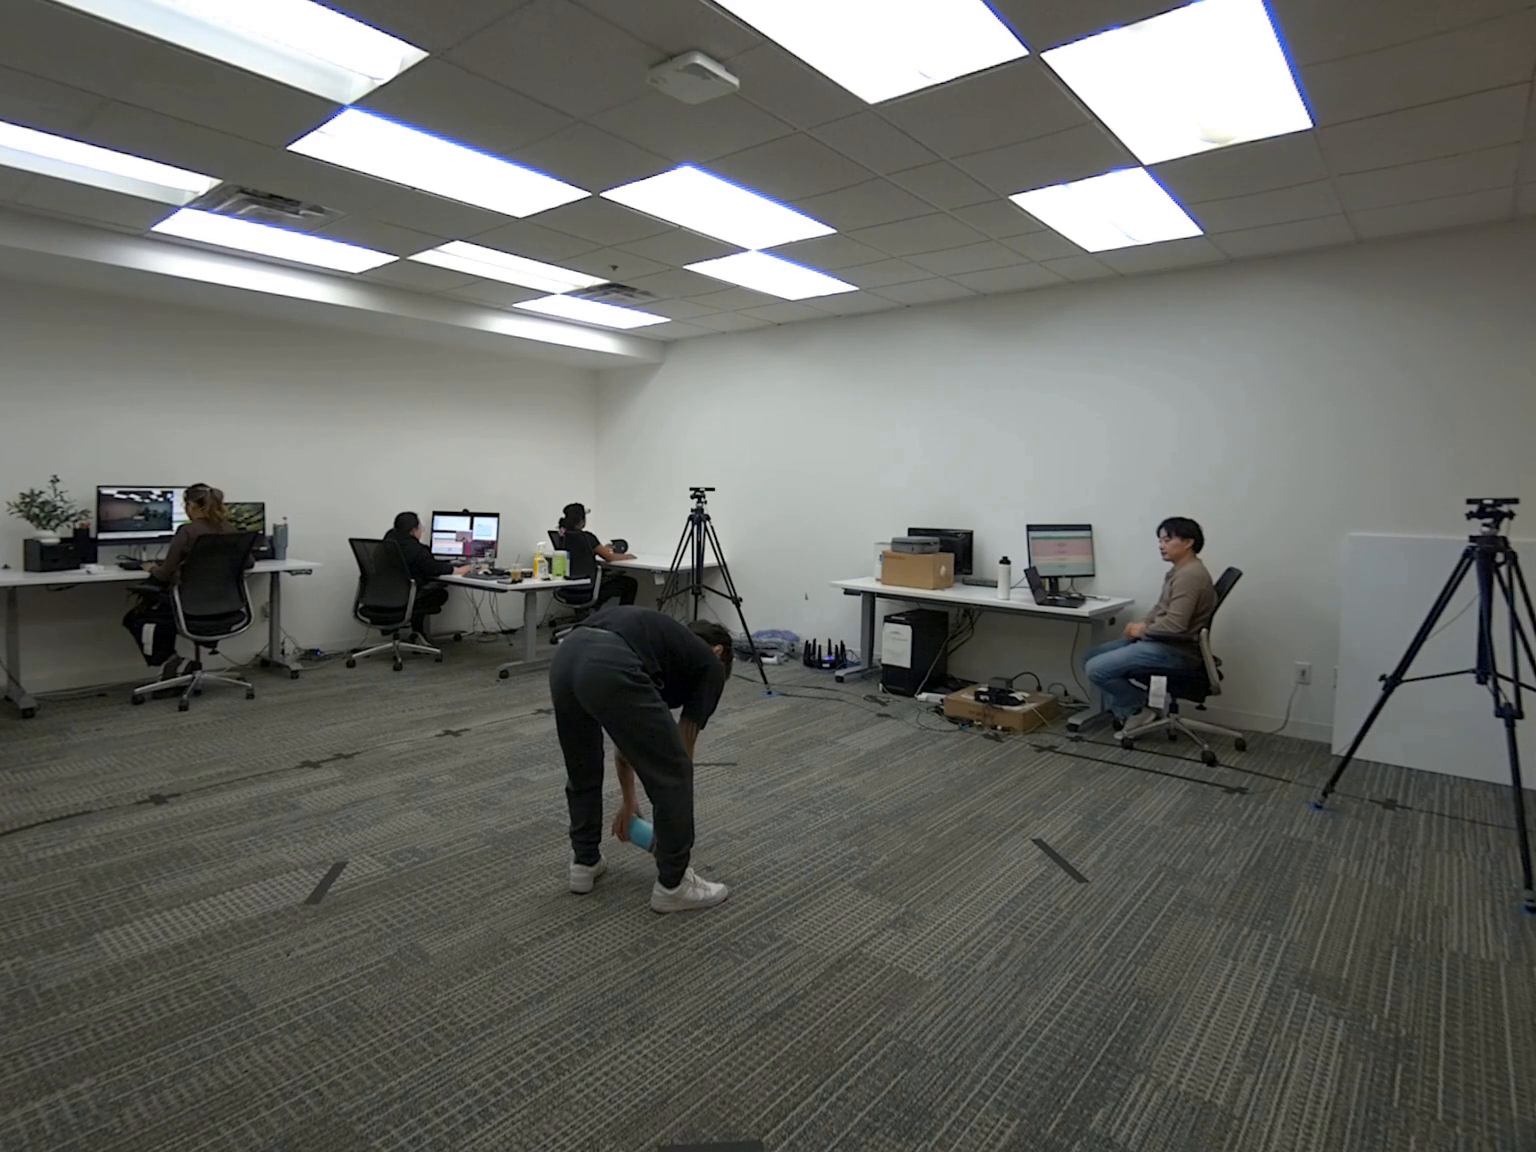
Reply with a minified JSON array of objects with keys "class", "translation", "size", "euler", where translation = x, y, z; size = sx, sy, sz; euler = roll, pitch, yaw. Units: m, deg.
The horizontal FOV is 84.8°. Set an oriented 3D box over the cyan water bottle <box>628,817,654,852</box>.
[{"class":"cyan water bottle","translation":[-0.415,0.941,3.022],"size":[0.293,0.092,0.089],"euler":[9,9,43]}]
